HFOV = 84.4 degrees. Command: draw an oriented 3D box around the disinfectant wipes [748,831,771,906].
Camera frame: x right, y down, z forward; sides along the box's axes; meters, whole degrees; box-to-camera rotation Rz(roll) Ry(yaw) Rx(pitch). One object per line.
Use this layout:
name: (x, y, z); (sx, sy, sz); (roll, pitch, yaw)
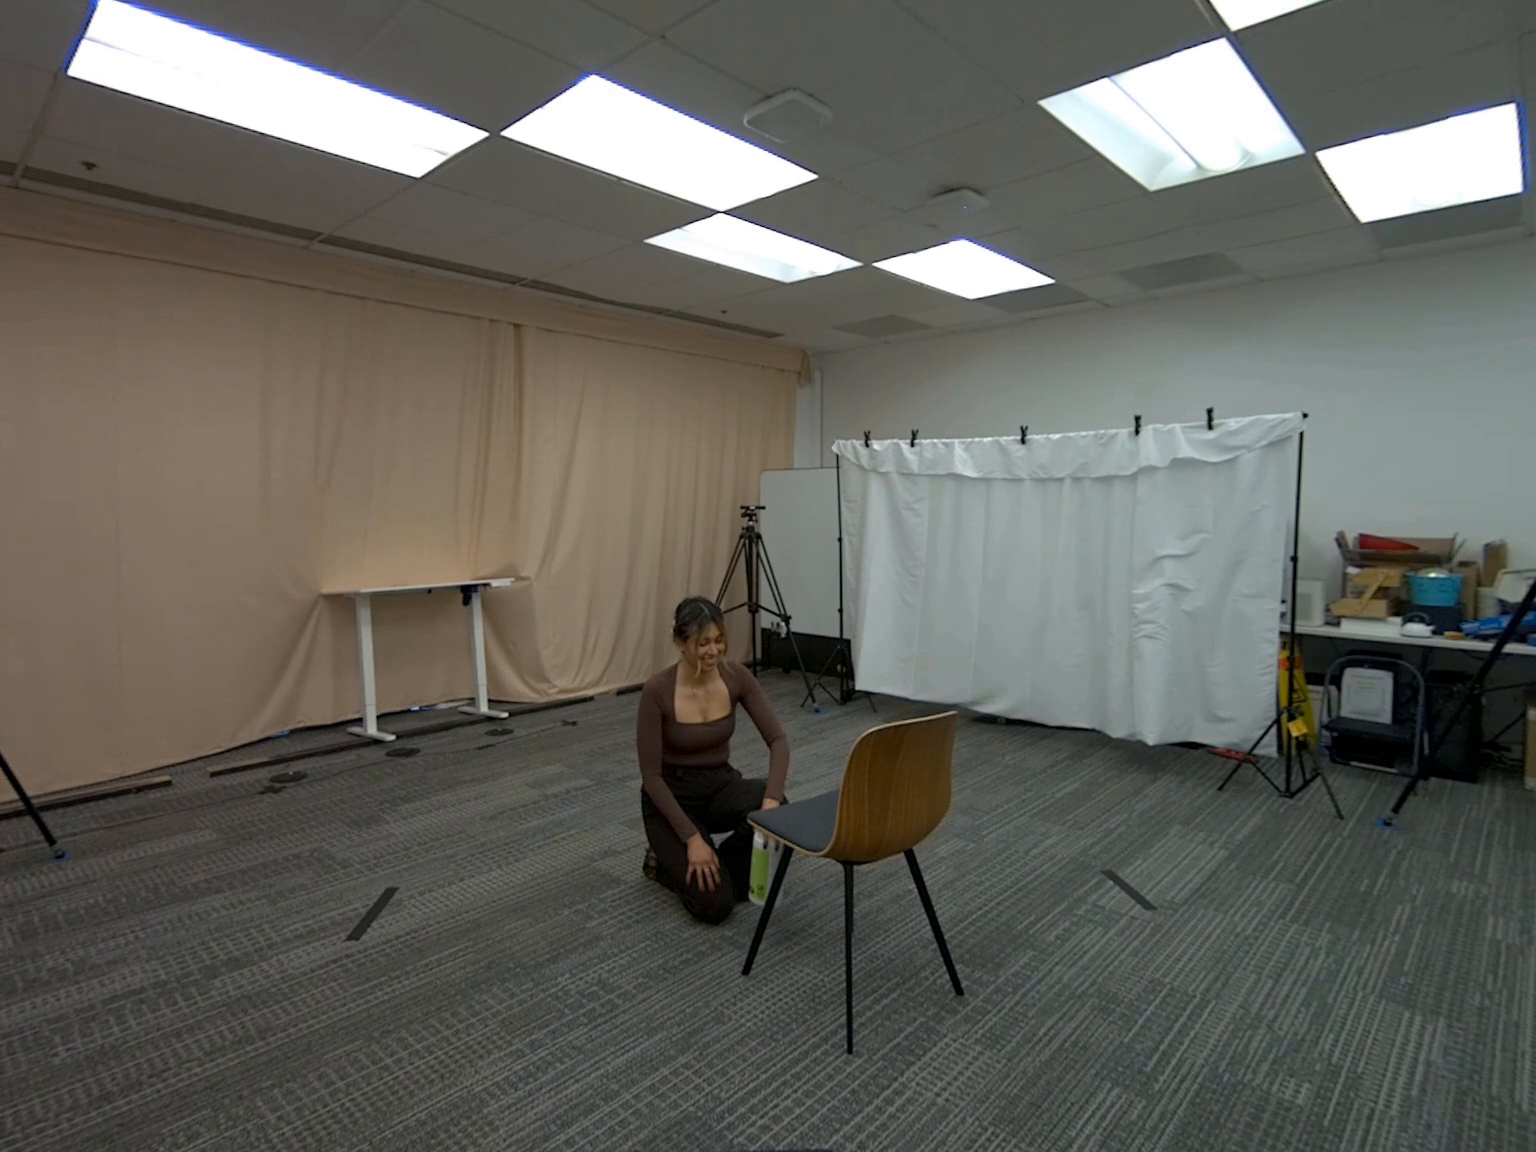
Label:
disinfectant wipes: (-0.004, 0.937, 2.719); (0.117, 0.216, 0.118); (4, 8, -2)
